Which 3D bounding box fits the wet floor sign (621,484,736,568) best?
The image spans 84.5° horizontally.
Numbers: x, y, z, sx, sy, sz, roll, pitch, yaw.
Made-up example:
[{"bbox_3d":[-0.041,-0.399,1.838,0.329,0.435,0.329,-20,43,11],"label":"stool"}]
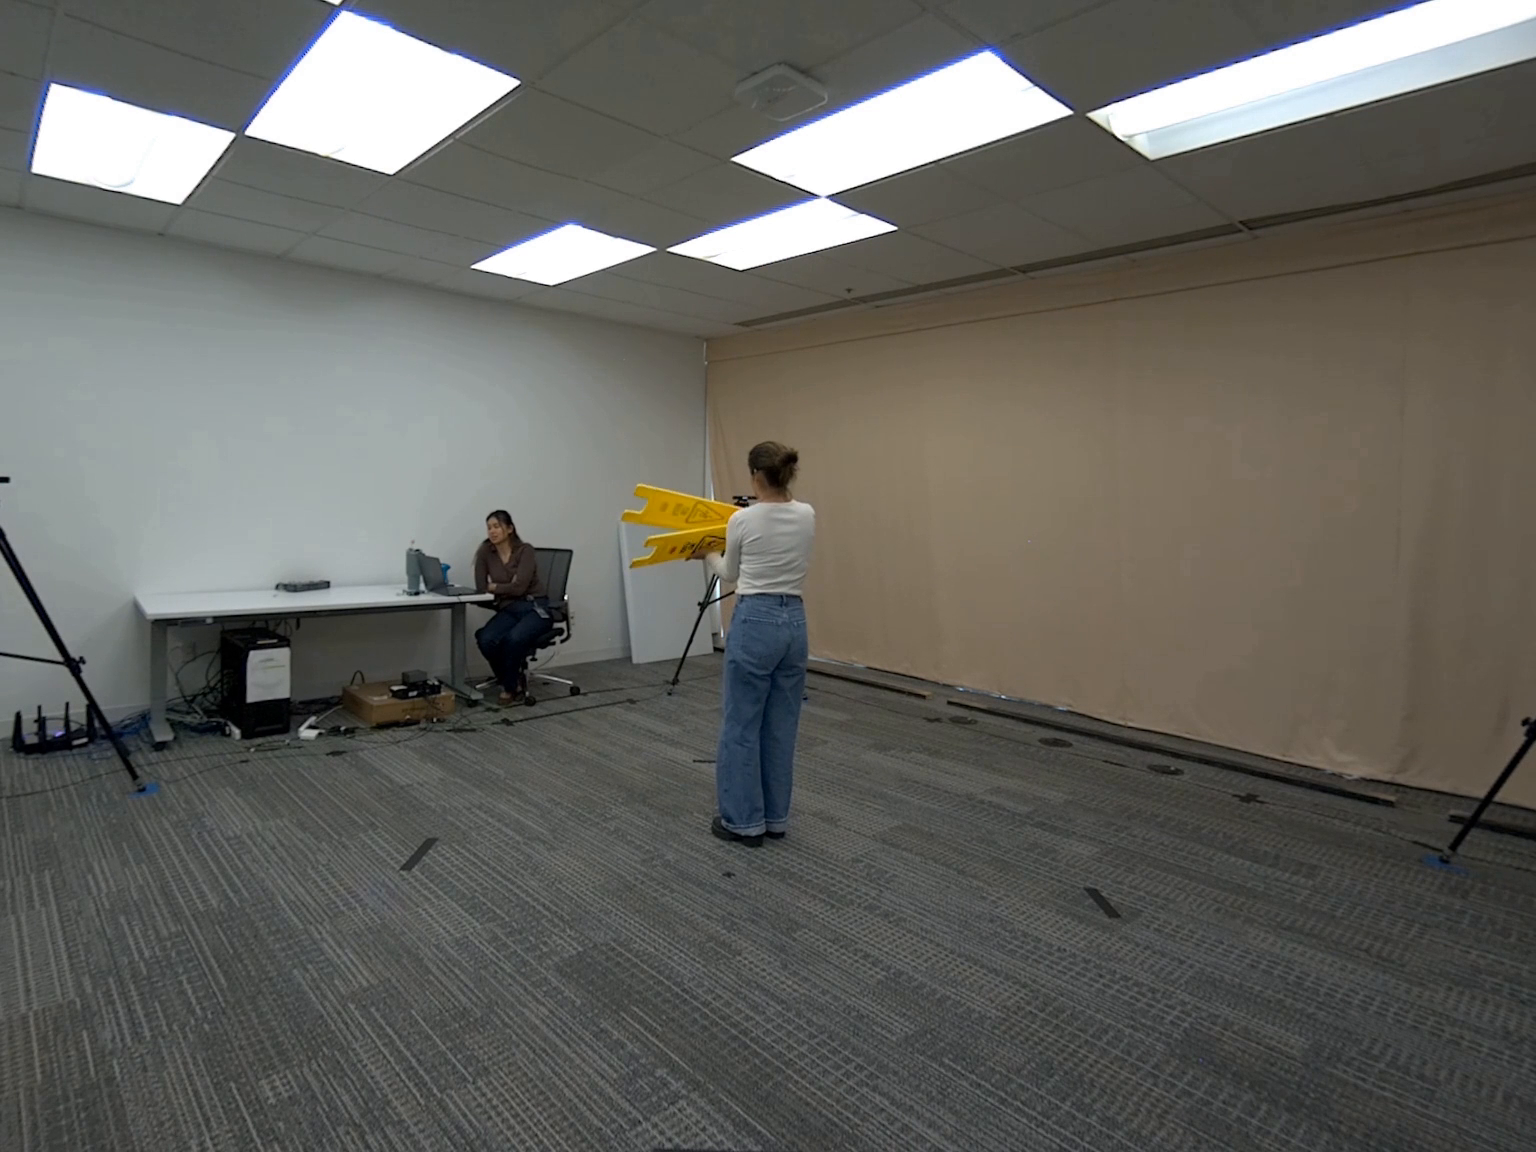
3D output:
[{"bbox_3d":[-0.297,-0.210,3.718,0.634,0.296,0.281,-1,-29,-26],"label":"wet floor sign"}]
